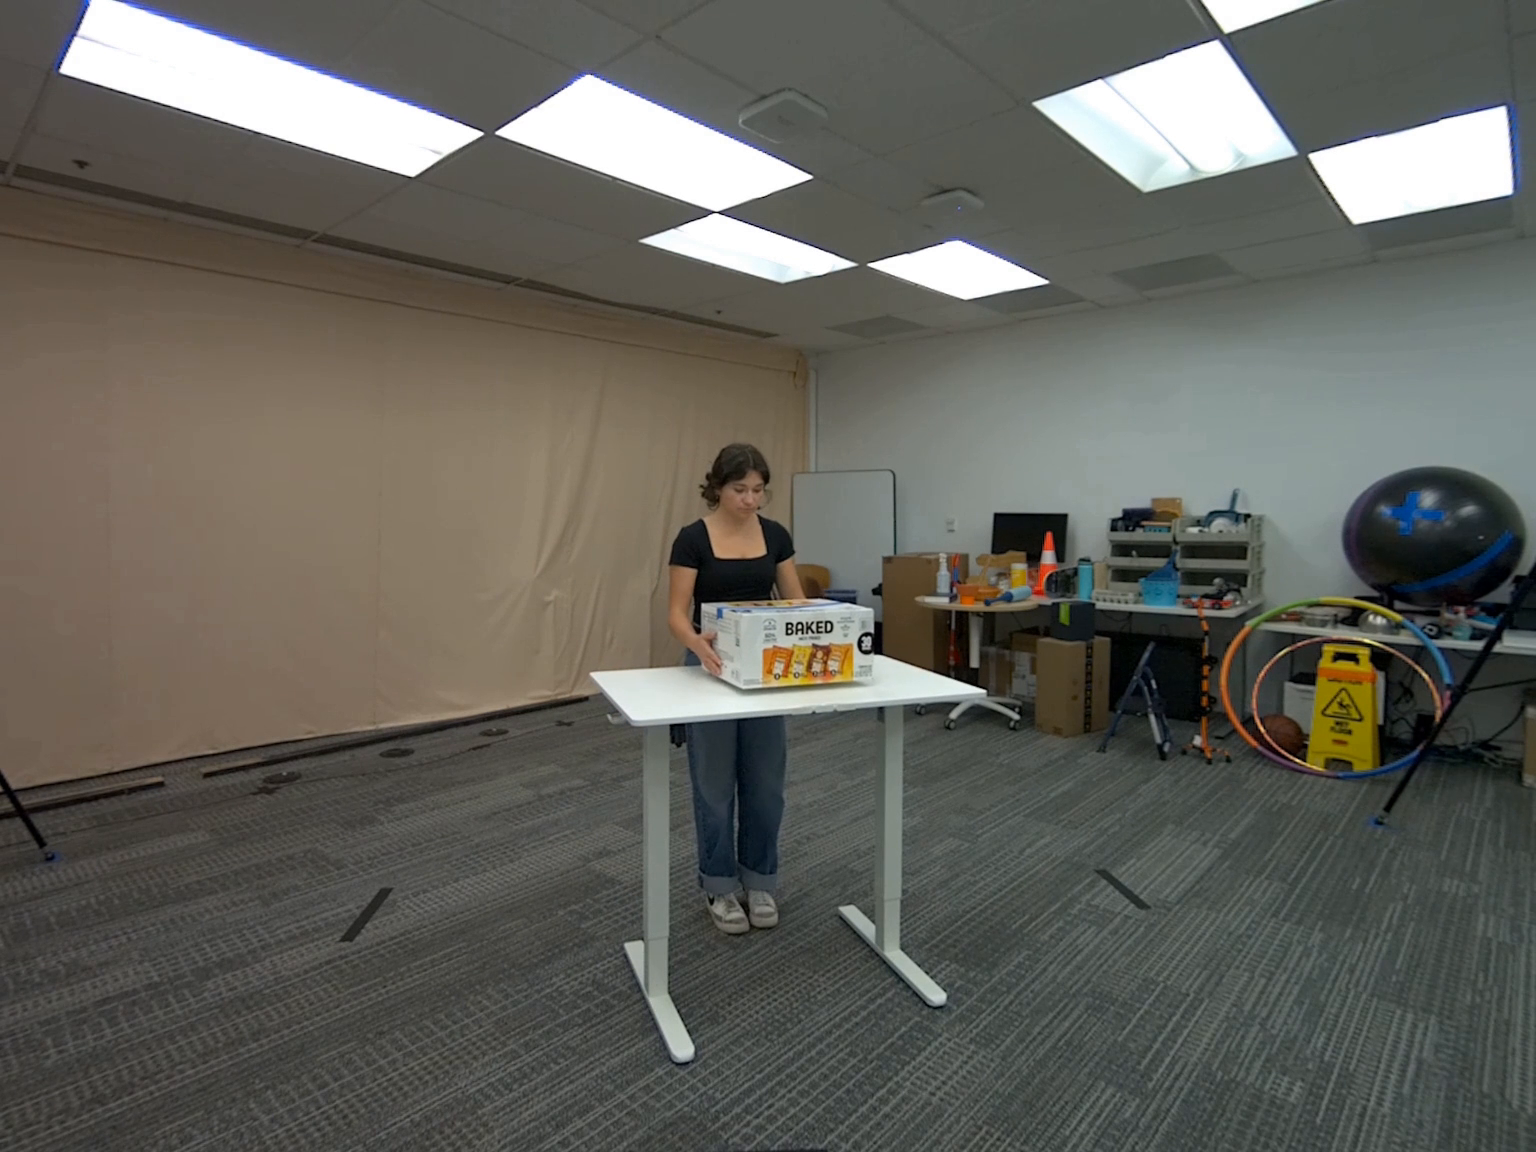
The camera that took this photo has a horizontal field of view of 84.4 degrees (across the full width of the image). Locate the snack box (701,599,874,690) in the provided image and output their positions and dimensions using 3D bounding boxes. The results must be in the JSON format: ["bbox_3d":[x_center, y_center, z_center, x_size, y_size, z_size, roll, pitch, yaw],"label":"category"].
[{"bbox_3d":[0.048,0.189,2.473,0.397,0.205,0.348,-2,4,-22],"label":"snack box"}]
